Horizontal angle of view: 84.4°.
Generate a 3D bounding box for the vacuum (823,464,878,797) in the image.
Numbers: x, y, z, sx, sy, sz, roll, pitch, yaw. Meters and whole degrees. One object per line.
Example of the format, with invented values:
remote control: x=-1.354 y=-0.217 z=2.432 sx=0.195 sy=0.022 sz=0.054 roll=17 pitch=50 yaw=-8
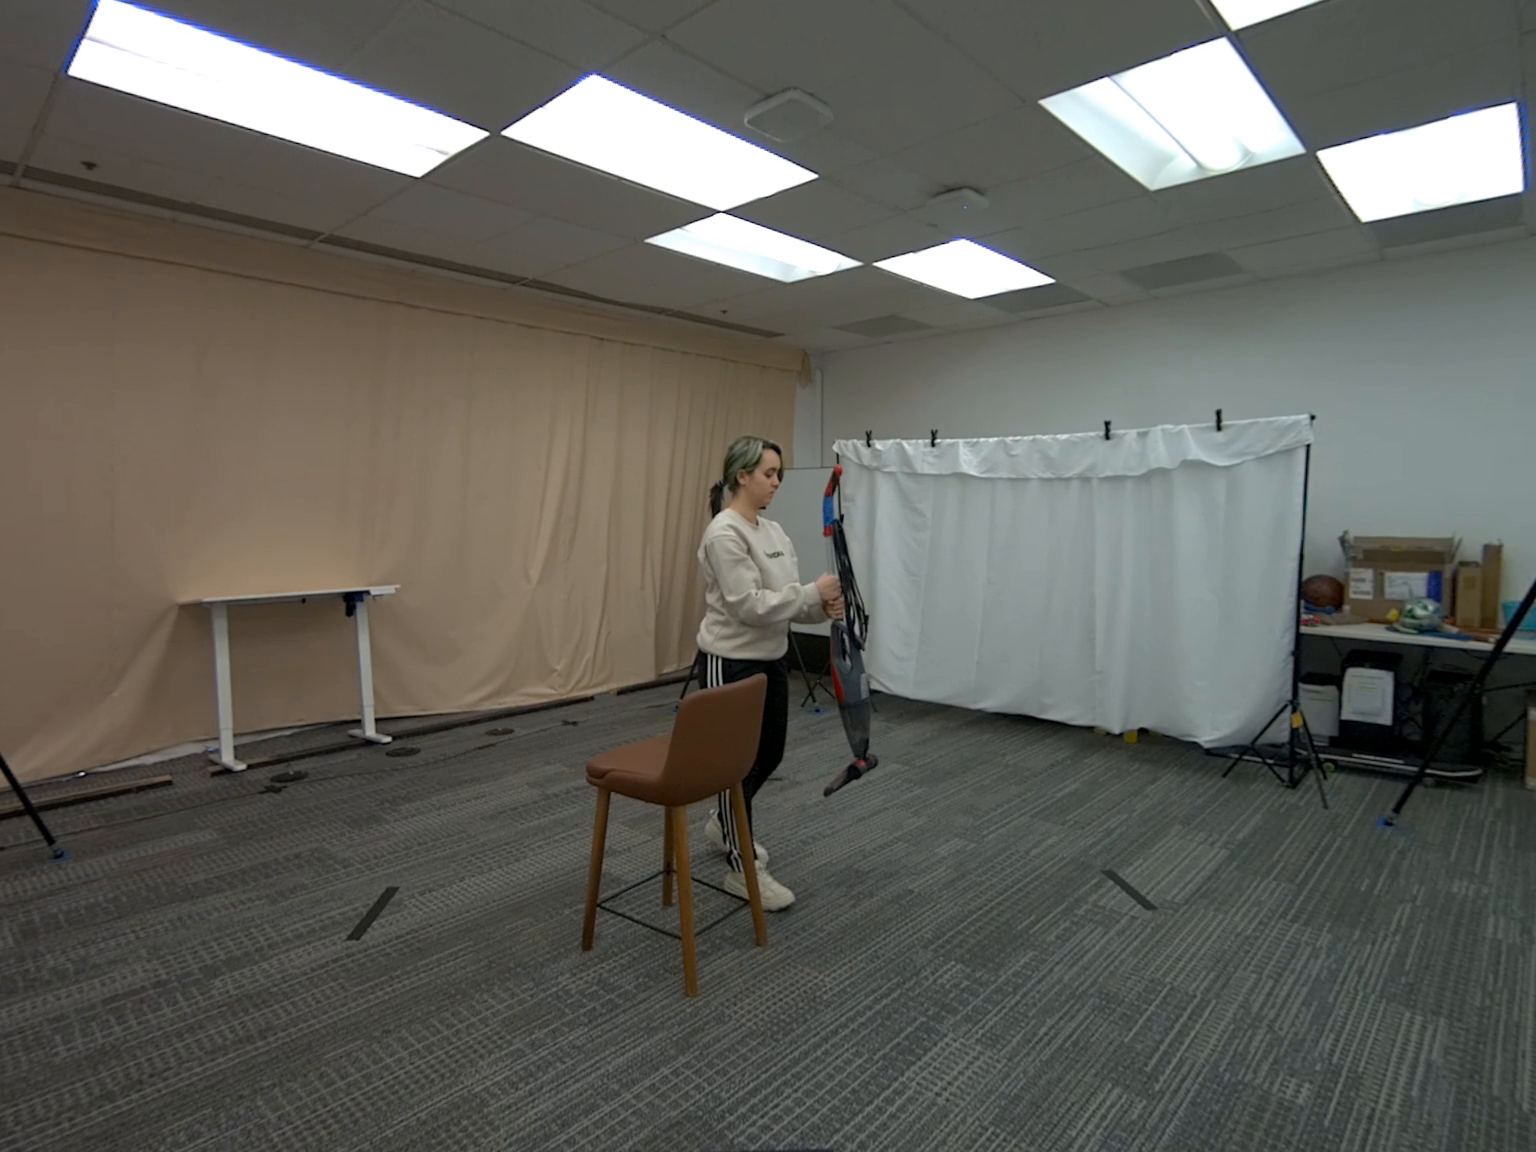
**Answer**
vacuum: x=0.273 y=0.161 z=2.837 sx=0.148 sy=1.045 sz=0.246 roll=1 pitch=6 yaw=32
